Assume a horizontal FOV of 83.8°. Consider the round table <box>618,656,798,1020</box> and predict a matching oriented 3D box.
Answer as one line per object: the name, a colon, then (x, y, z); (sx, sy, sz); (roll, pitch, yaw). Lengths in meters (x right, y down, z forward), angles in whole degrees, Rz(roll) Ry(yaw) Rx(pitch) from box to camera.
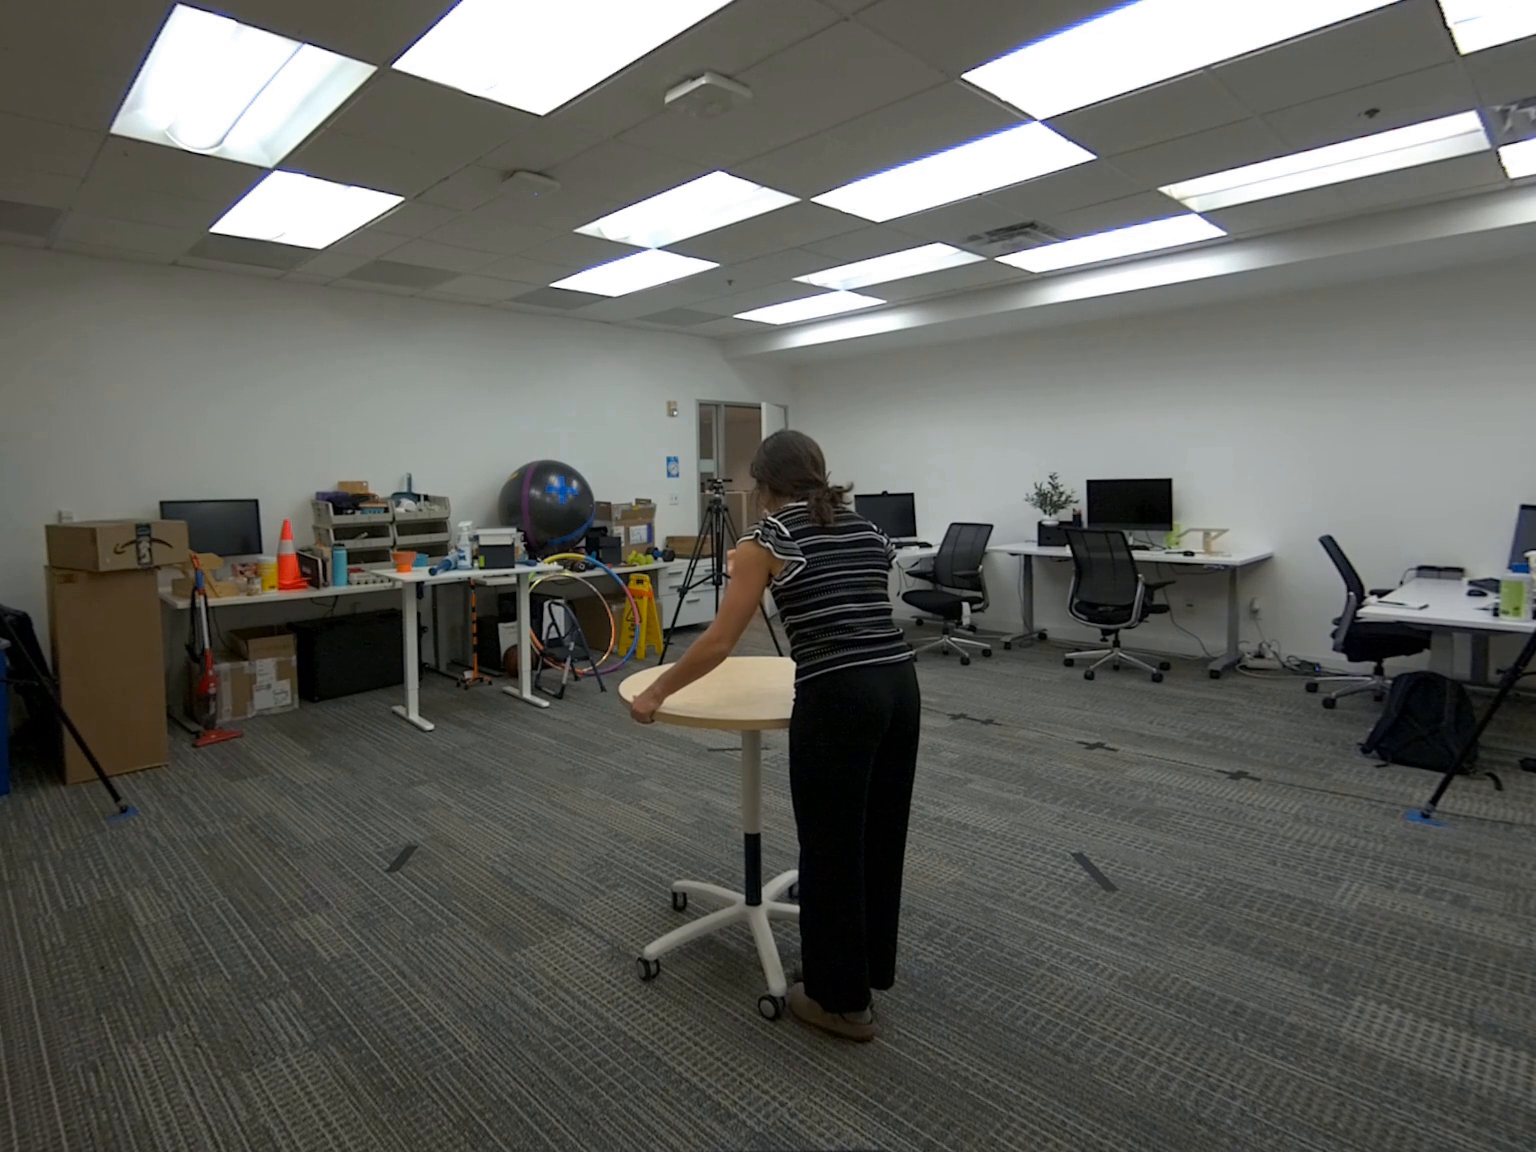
round table: (-0.043, 0.712, 2.525); (0.763, 0.791, 0.768); (-1, 5, -2)
